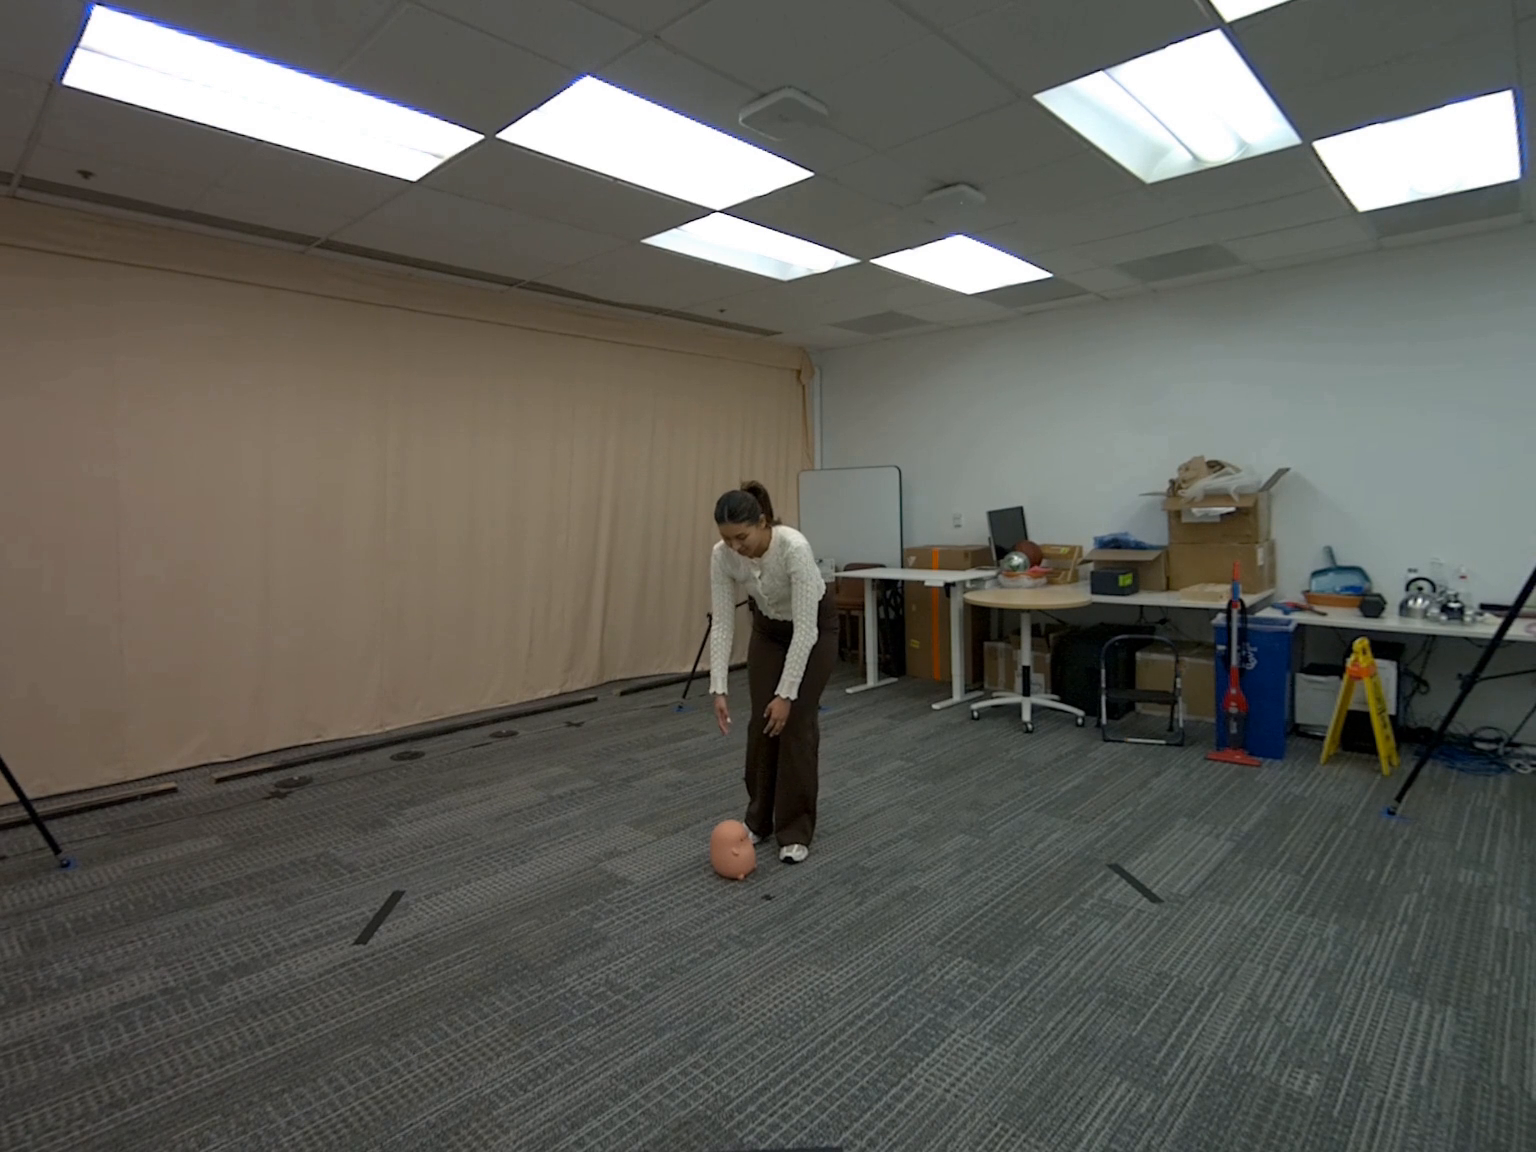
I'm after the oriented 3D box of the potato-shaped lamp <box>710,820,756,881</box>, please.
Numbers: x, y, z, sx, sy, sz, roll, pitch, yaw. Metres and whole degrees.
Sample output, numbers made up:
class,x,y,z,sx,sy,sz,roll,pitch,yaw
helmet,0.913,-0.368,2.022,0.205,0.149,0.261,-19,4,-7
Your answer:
class,x,y,z,sx,sy,sz,roll,pitch,yaw
potato-shaped lamp,-0.135,1.023,3.181,0.176,0.198,0.160,0,0,33
